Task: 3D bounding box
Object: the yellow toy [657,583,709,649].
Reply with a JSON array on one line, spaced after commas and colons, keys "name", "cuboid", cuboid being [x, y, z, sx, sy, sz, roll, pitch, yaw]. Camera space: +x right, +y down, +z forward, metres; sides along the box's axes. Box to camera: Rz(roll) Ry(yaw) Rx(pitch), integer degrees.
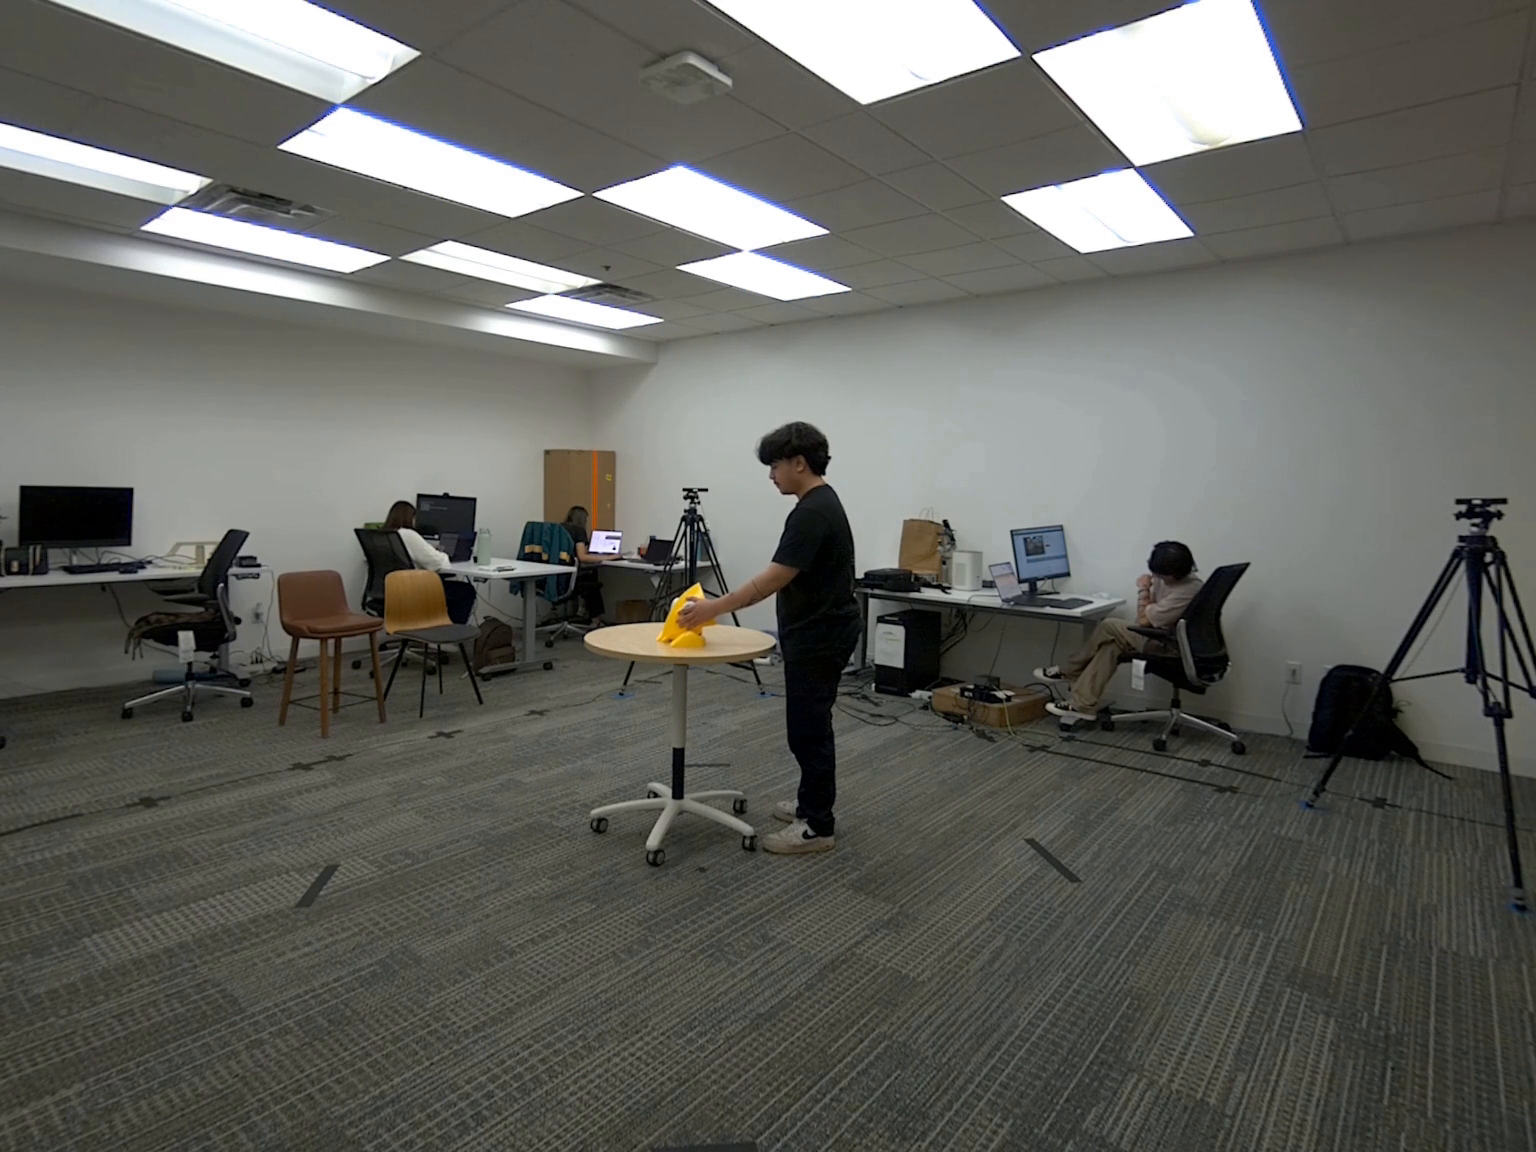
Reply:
[{"name": "yellow toy", "cuboid": [-0.337, 0.141, 3.317, 0.188, 0.230, 0.211, -2, 5, -32]}]
